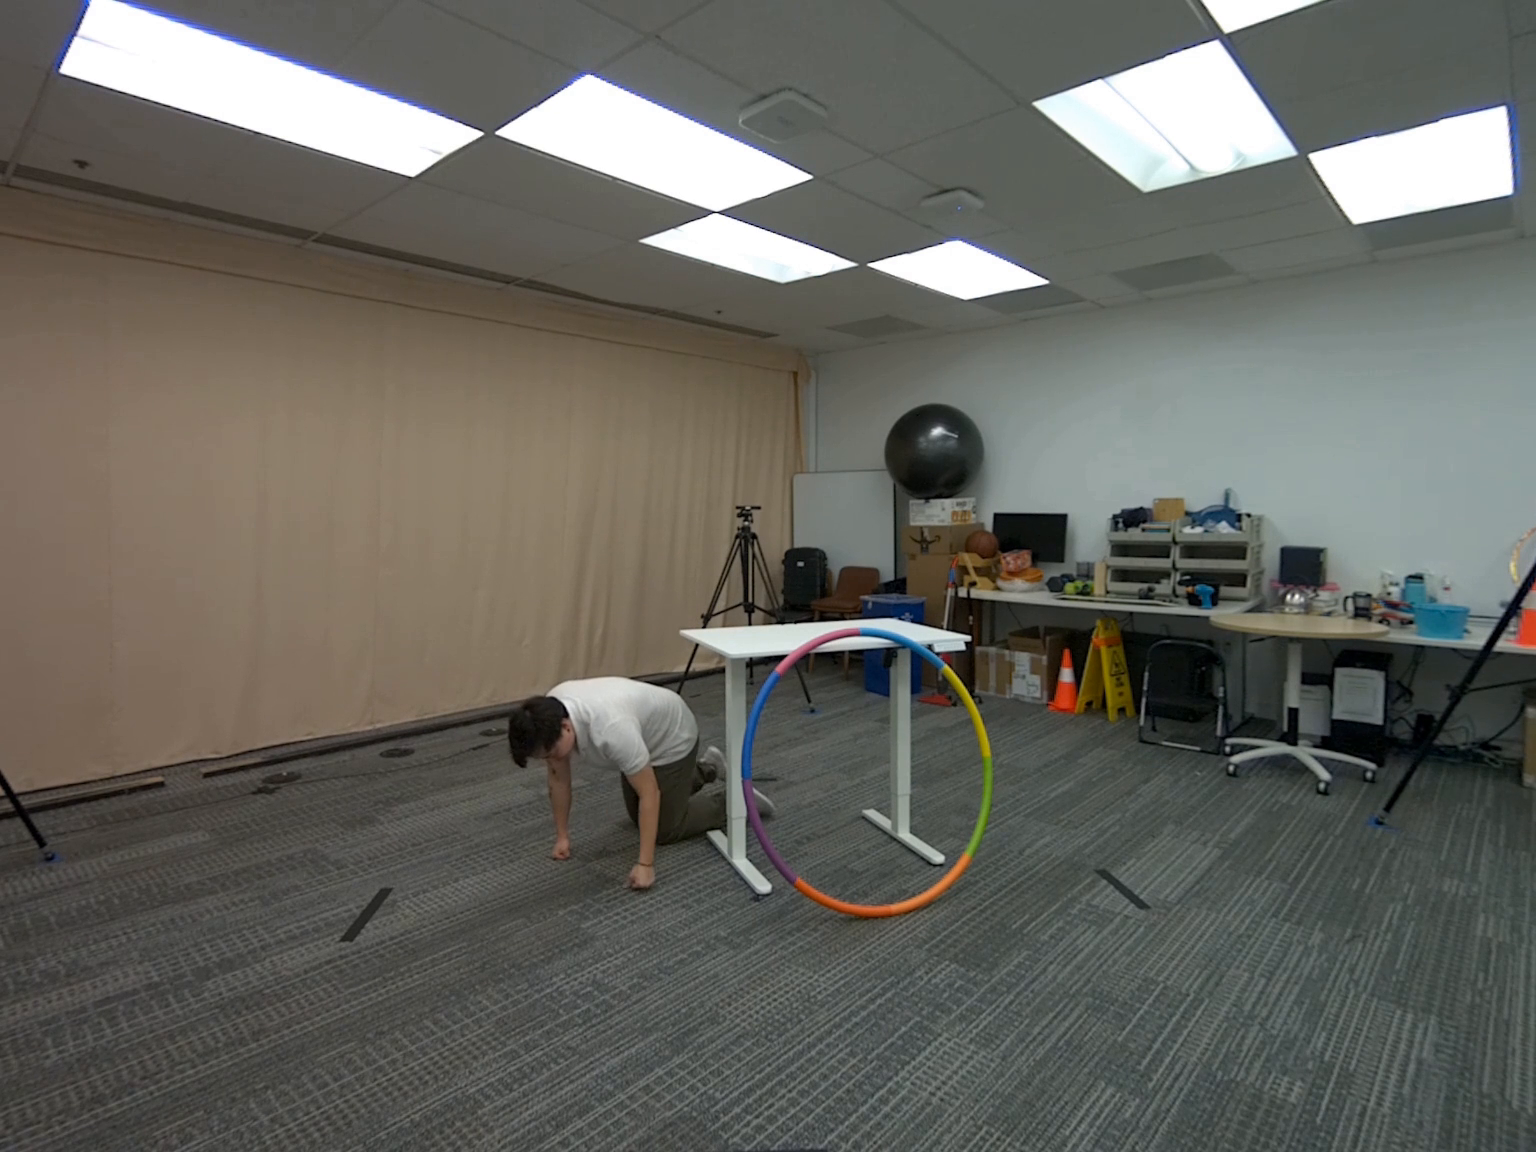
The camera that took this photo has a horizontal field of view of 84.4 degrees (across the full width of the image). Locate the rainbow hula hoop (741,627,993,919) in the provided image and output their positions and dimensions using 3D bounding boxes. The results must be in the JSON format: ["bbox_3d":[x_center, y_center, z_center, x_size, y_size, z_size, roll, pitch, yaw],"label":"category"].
[{"bbox_3d":[0.384,0.678,2.960,0.959,0.987,0.036,-2,-13,-20],"label":"rainbow hula hoop"}]
